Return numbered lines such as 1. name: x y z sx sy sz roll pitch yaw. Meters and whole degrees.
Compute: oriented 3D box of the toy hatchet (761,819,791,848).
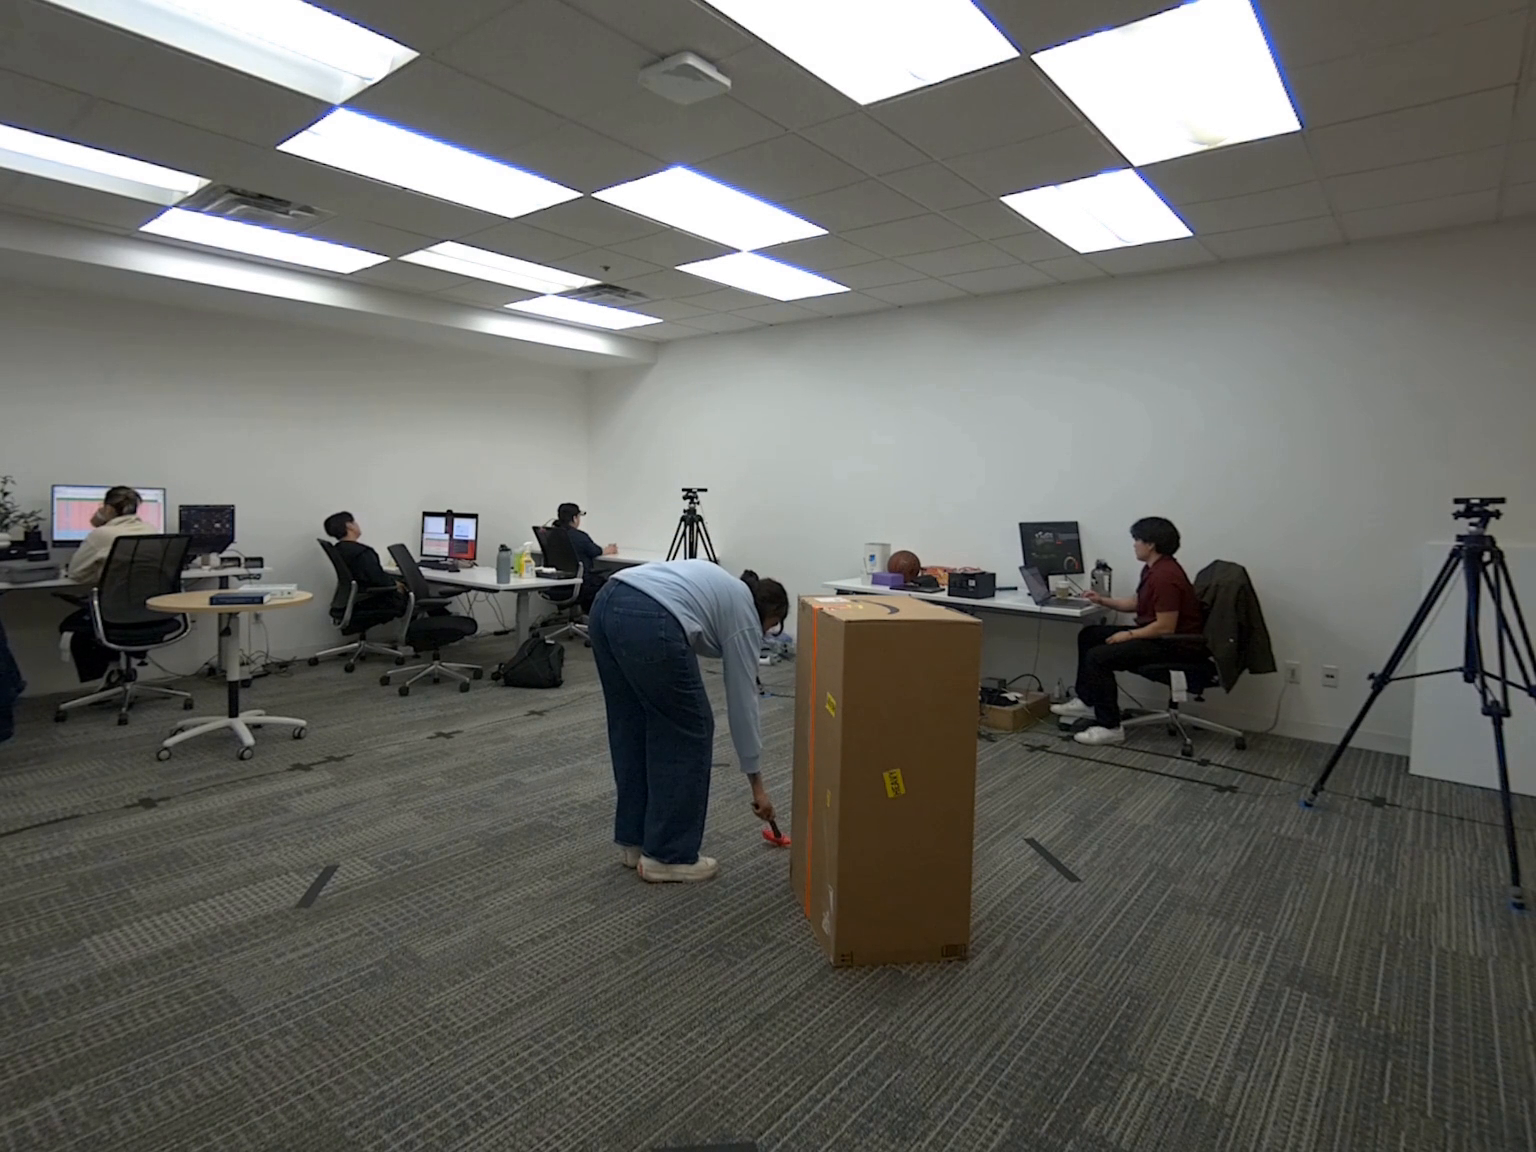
1. toy hatchet: -0.024 0.949 3.293 0.134 0.262 0.030 -18 31 41
